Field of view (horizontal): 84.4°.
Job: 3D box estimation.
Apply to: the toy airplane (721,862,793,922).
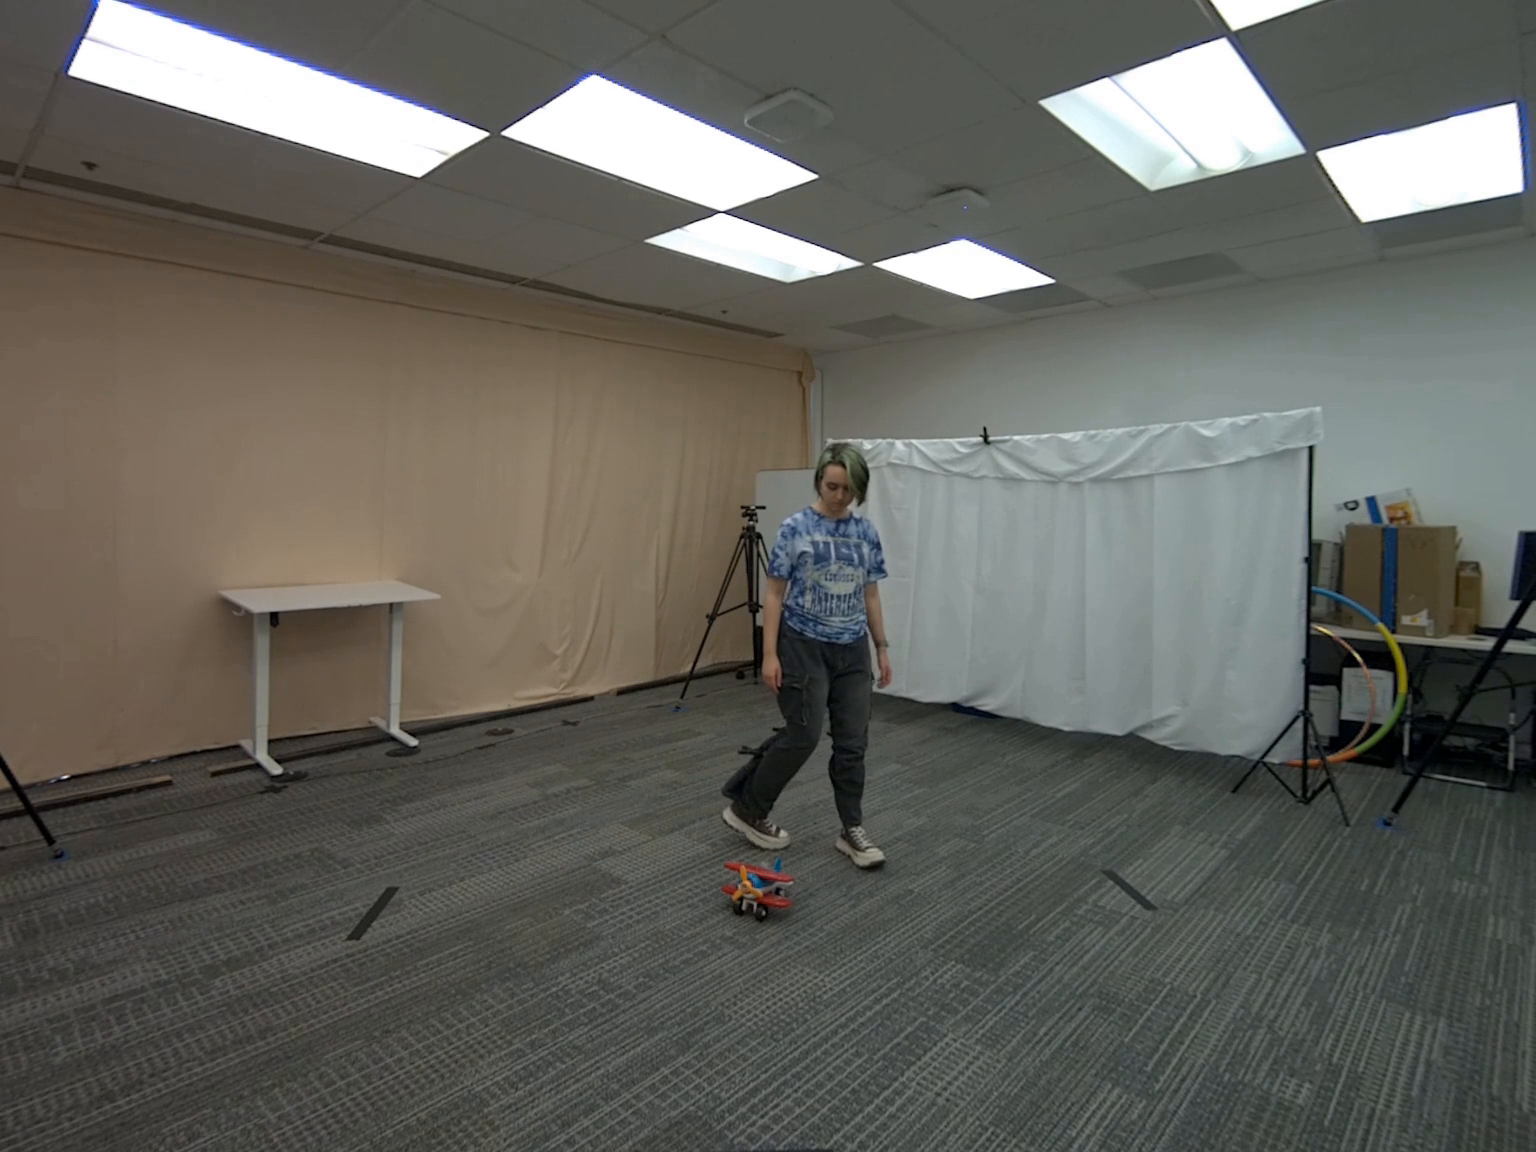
[{"bbox_3d":[-0.035,1.066,2.928,0.252,0.156,0.259,0,5,3],"label":"toy airplane"}]
